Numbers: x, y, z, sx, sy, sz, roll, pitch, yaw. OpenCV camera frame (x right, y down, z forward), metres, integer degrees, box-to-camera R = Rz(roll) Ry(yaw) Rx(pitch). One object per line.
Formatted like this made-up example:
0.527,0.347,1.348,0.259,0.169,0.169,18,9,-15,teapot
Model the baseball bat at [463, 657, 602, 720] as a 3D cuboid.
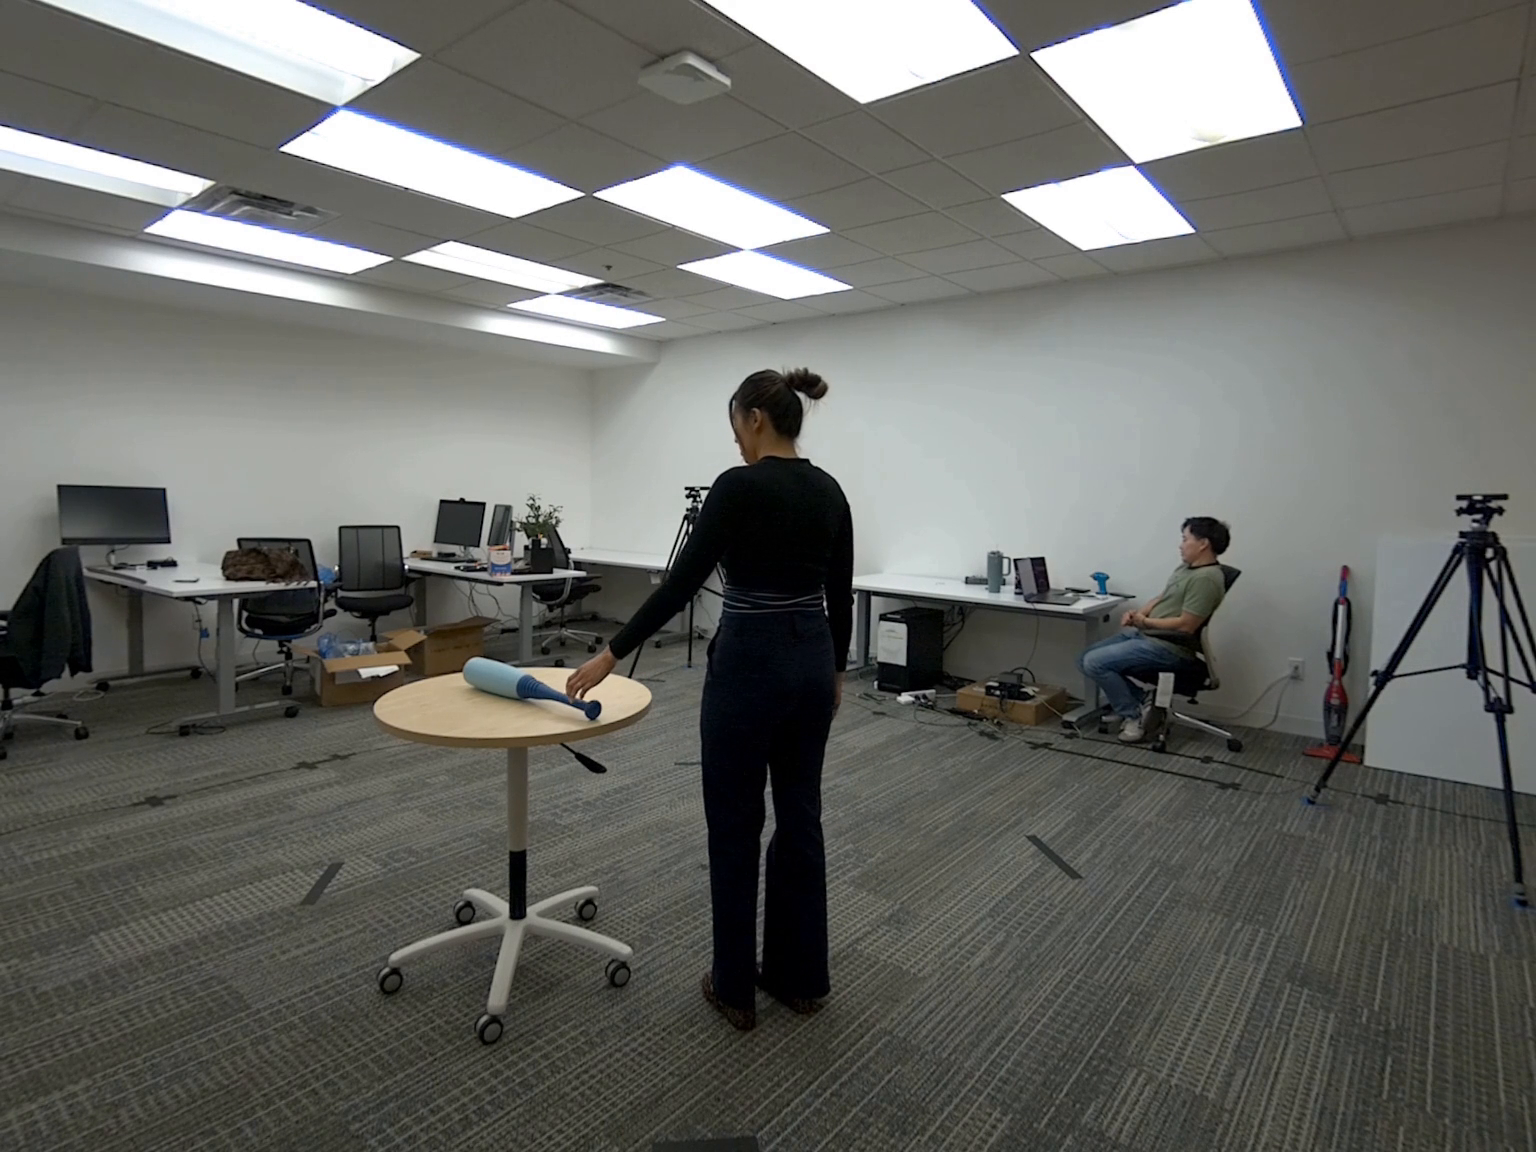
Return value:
-0.673,0.317,2.369,0.562,0.088,0.086,10,9,39,baseball bat
